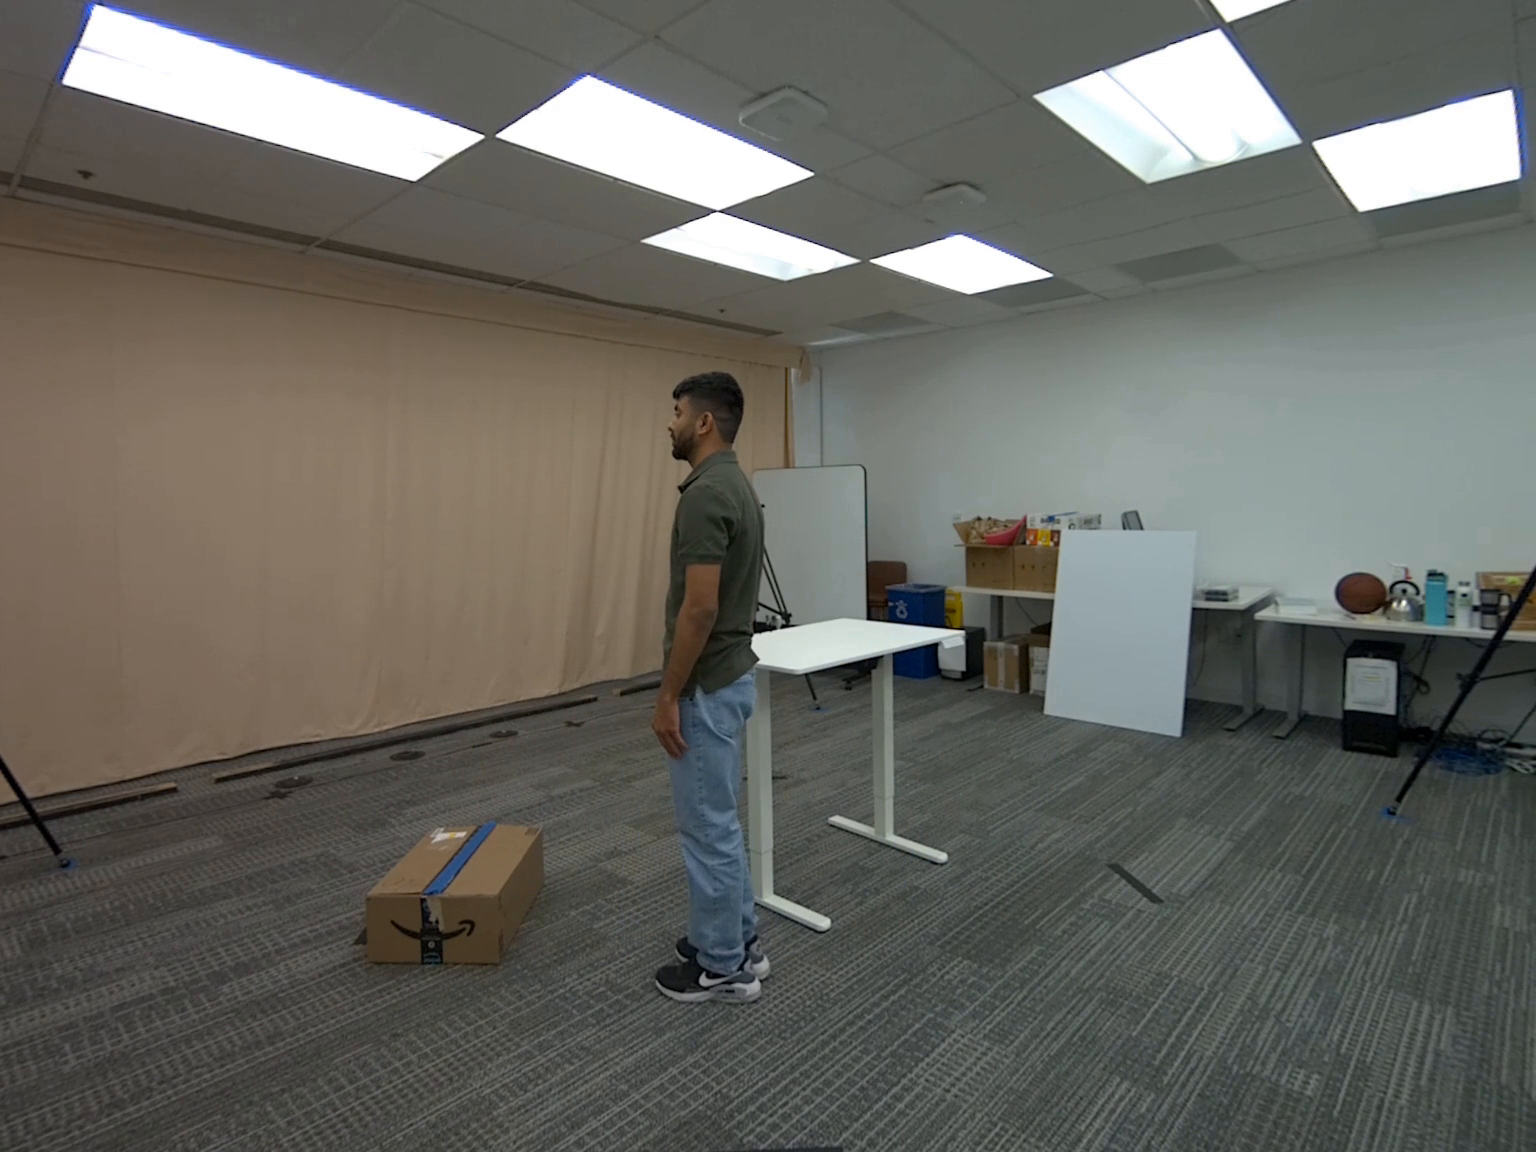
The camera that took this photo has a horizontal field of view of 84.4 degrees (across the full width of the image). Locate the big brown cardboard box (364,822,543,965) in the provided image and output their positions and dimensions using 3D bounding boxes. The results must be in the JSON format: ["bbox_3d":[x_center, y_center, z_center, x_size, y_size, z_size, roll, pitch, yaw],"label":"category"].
[{"bbox_3d":[-1.031,1.054,2.872,0.418,0.232,0.590,-2,5,0],"label":"big brown cardboard box"}]
